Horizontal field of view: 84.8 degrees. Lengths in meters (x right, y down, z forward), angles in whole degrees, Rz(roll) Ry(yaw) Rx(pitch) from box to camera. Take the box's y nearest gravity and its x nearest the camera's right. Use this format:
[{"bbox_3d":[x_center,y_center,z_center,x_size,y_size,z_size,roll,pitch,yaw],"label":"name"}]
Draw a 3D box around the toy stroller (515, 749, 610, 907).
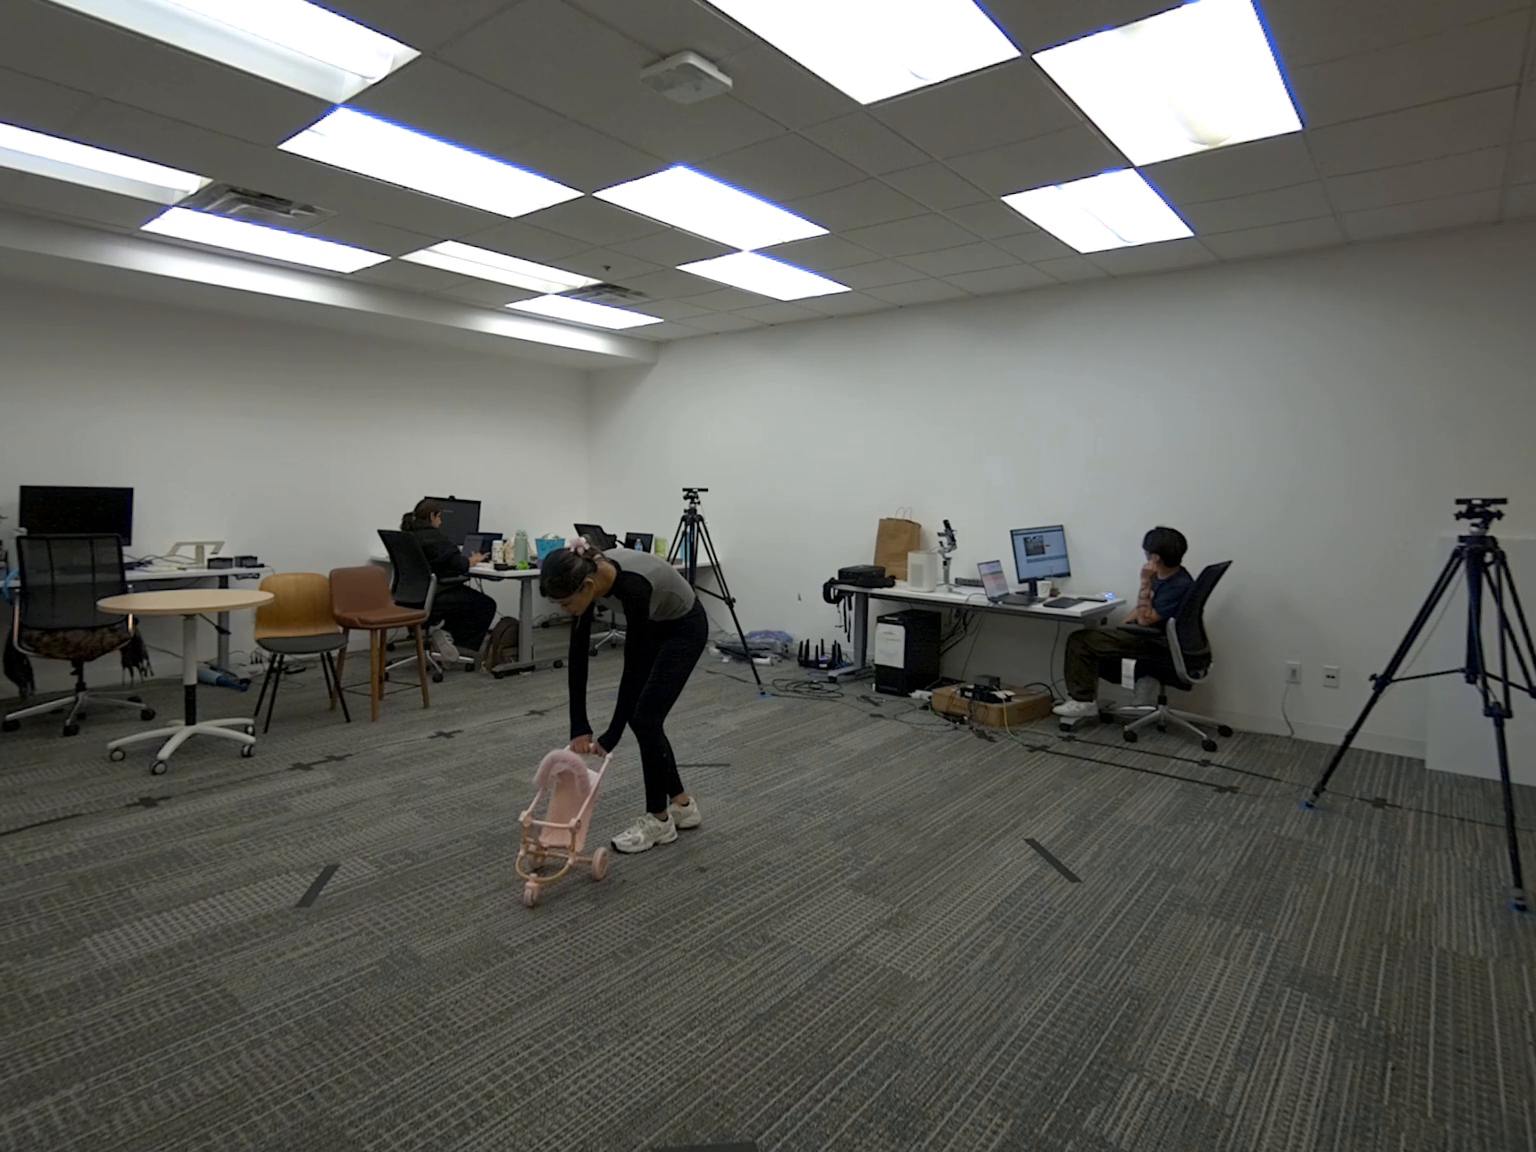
[{"bbox_3d":[-0.739,0.846,2.987,0.288,0.541,0.330,2,-13,20],"label":"toy stroller"}]
